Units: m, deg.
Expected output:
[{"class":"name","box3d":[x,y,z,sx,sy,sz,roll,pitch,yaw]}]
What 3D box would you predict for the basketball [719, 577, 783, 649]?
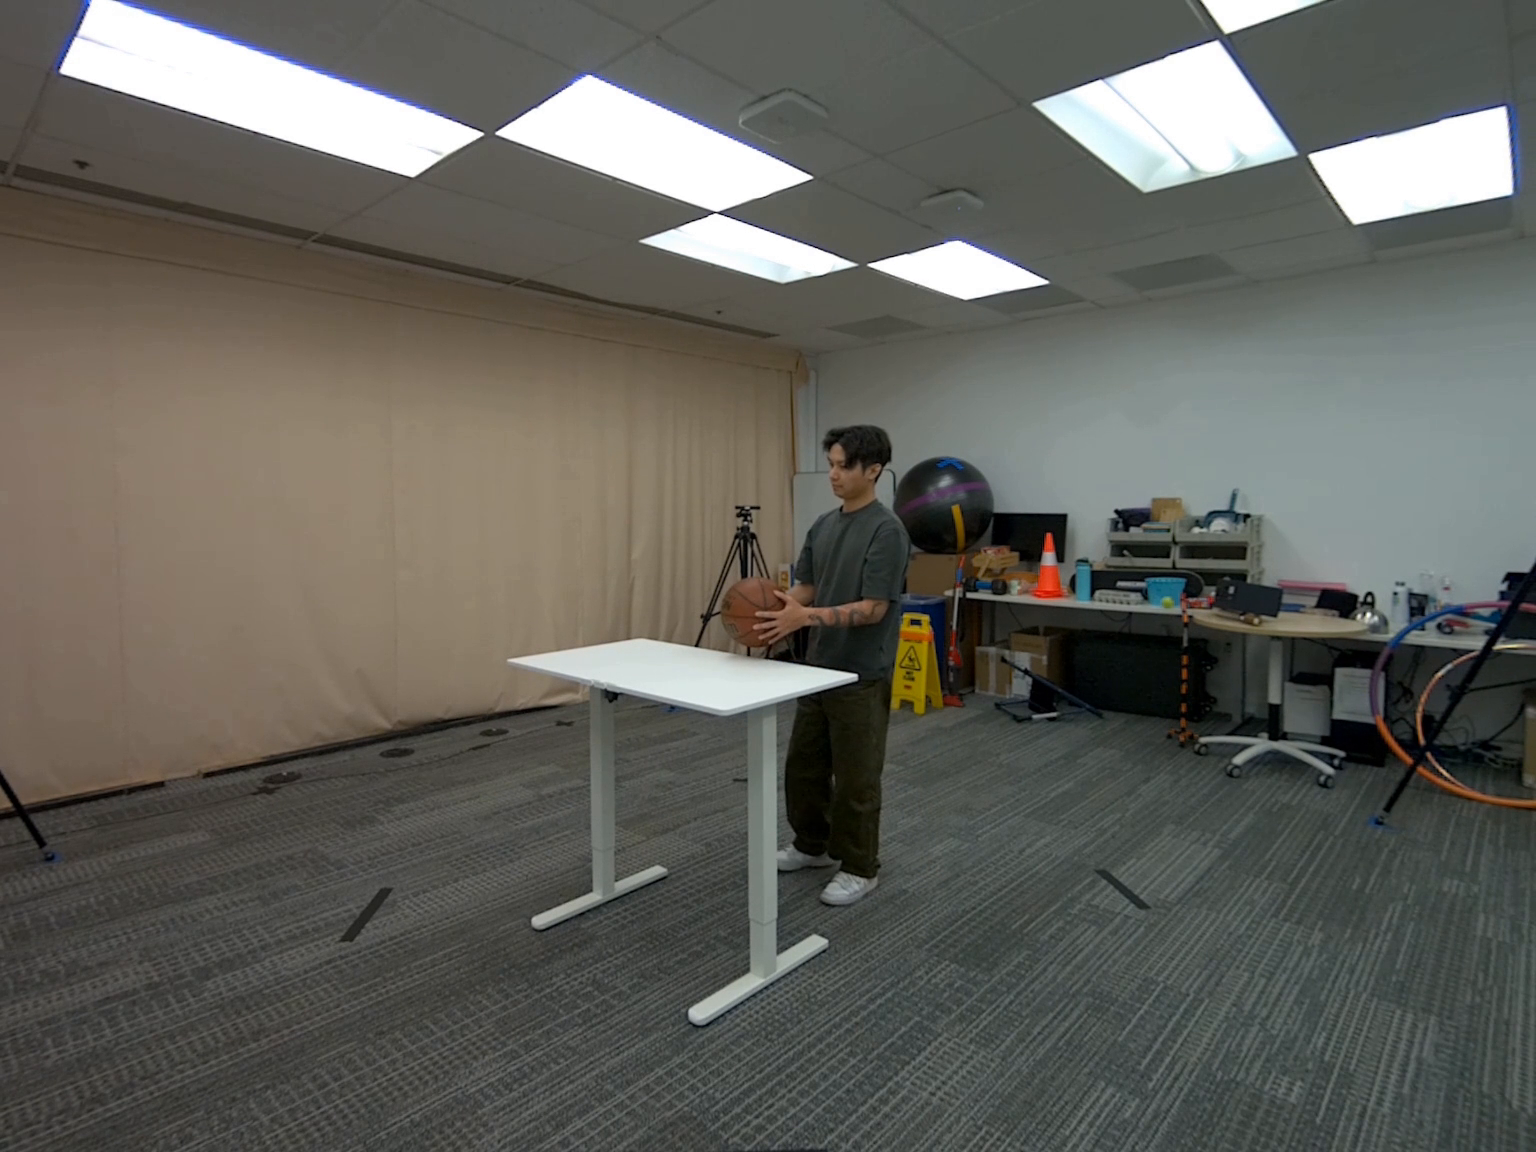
[{"class":"basketball","box3d":[-0.037,0.124,2.844,0.236,0.235,0.237,0,4,-2]}]
